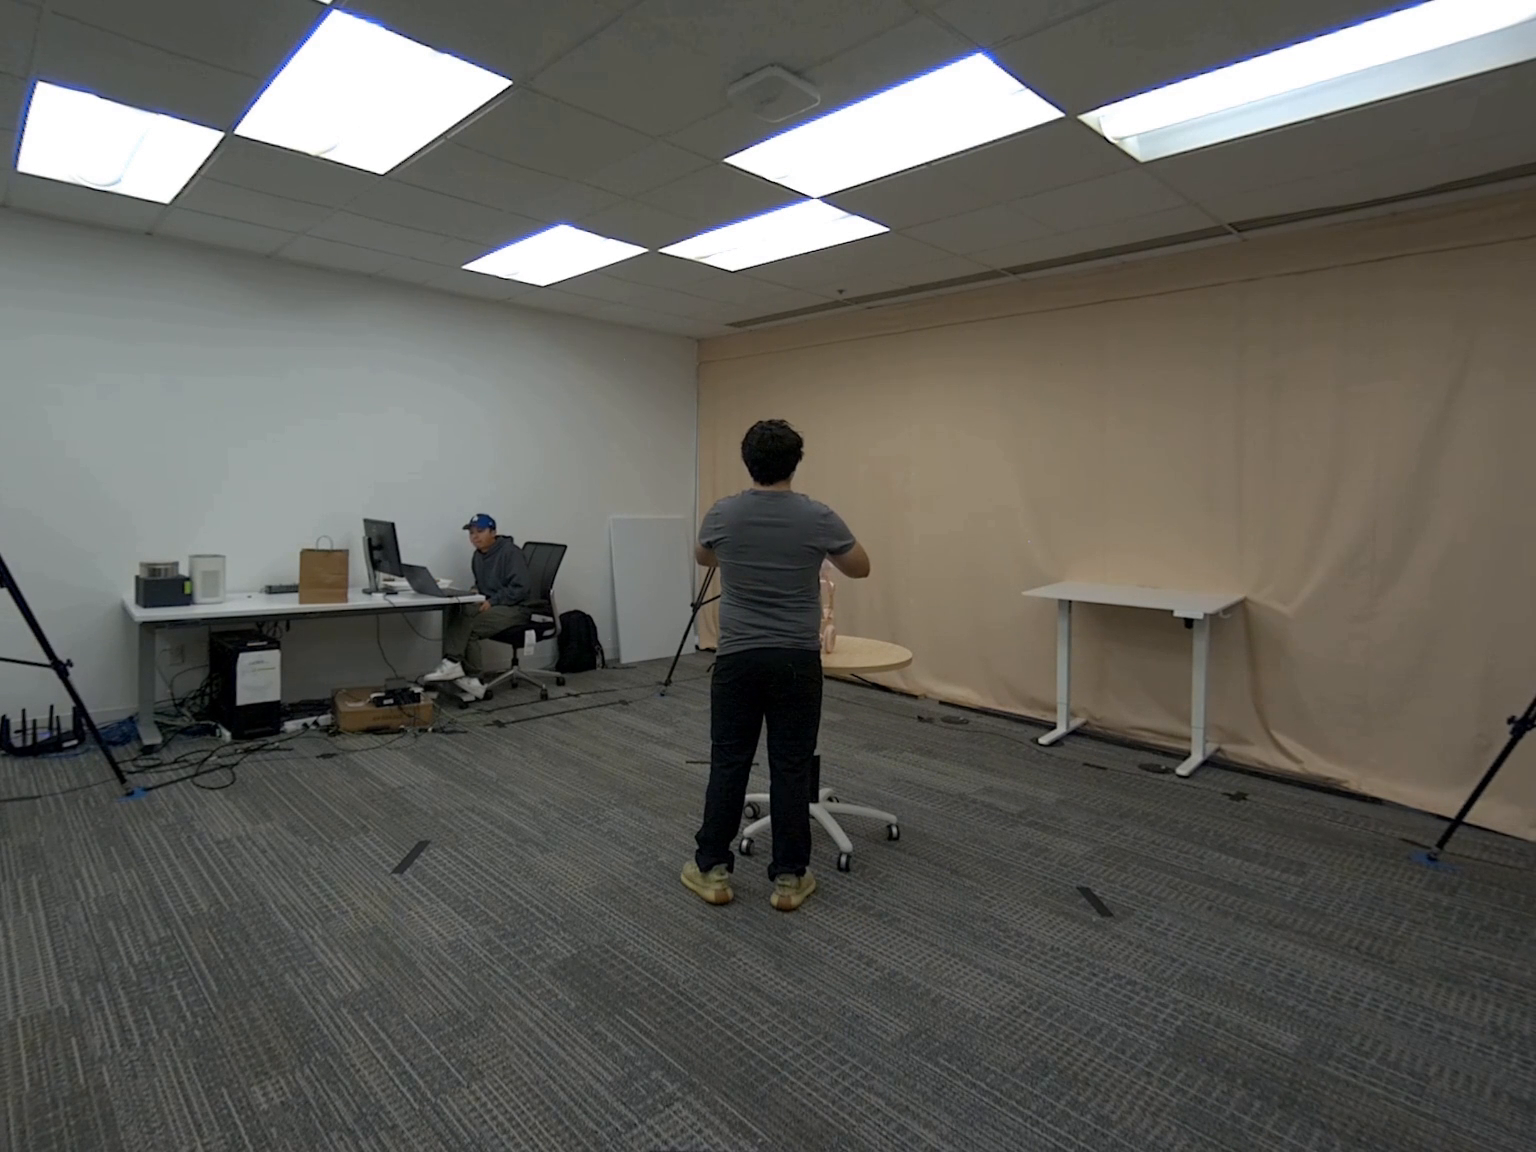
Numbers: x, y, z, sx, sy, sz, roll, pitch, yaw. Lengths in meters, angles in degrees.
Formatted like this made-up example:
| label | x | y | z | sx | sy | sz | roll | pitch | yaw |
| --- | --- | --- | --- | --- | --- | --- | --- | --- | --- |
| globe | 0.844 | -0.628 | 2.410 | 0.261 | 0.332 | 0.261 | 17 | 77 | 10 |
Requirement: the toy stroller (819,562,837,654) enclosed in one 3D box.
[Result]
| label | x | y | z | sx | sy | sz | roll | pitch | yaw |
| --- | --- | --- | --- | --- | --- | --- | --- | --- | --- |
| toy stroller | 0.154 | 0.078 | 3.473 | 0.286 | 0.527 | 0.340 | 4 | 20 | 22 |
